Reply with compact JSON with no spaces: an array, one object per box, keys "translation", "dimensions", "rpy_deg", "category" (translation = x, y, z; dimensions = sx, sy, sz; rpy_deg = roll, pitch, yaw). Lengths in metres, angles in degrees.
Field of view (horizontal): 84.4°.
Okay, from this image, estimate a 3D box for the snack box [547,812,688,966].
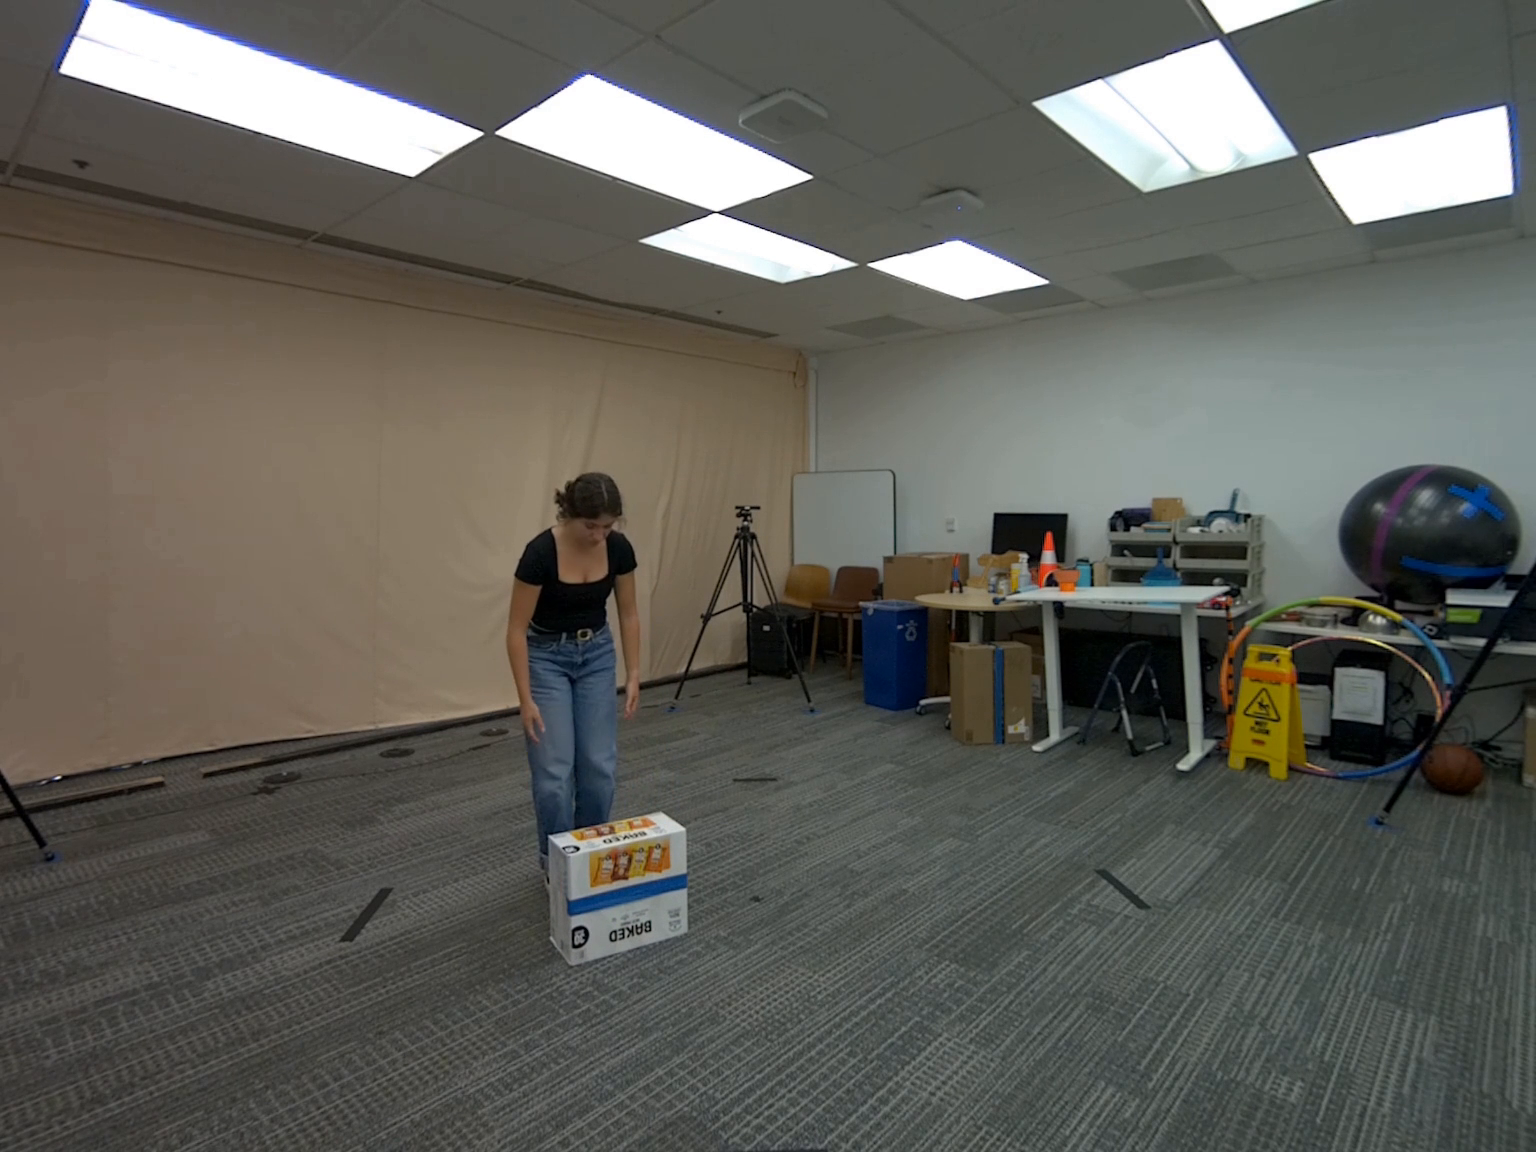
[{"translation":[-0.481,1.002,2.723],"dimensions":[0.394,0.340,0.211],"rpy_deg":[-3,2,-31],"category":"snack box"}]
